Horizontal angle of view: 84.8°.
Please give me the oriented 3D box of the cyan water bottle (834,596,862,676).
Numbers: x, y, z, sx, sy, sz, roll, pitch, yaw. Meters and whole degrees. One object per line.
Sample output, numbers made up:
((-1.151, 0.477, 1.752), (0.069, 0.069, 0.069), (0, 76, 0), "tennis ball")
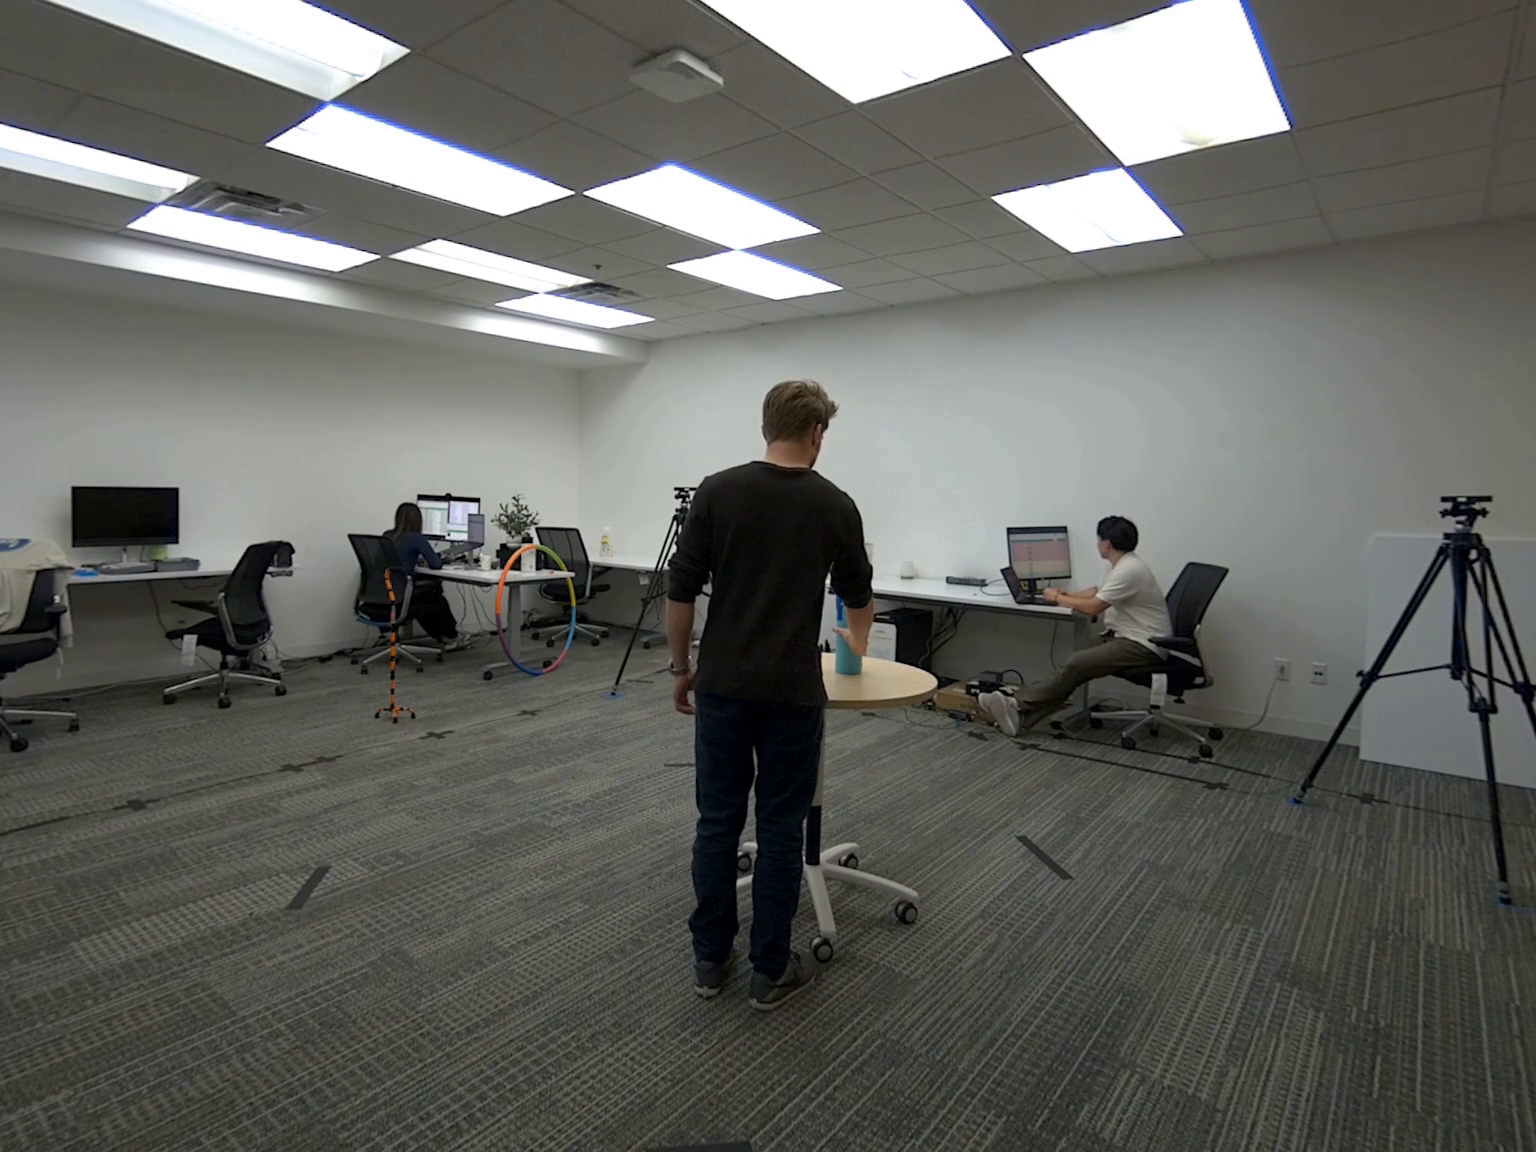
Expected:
((0.268, 0.181, 2.852), (0.092, 0.283, 0.092), (1, 1, -2), "cyan water bottle")
